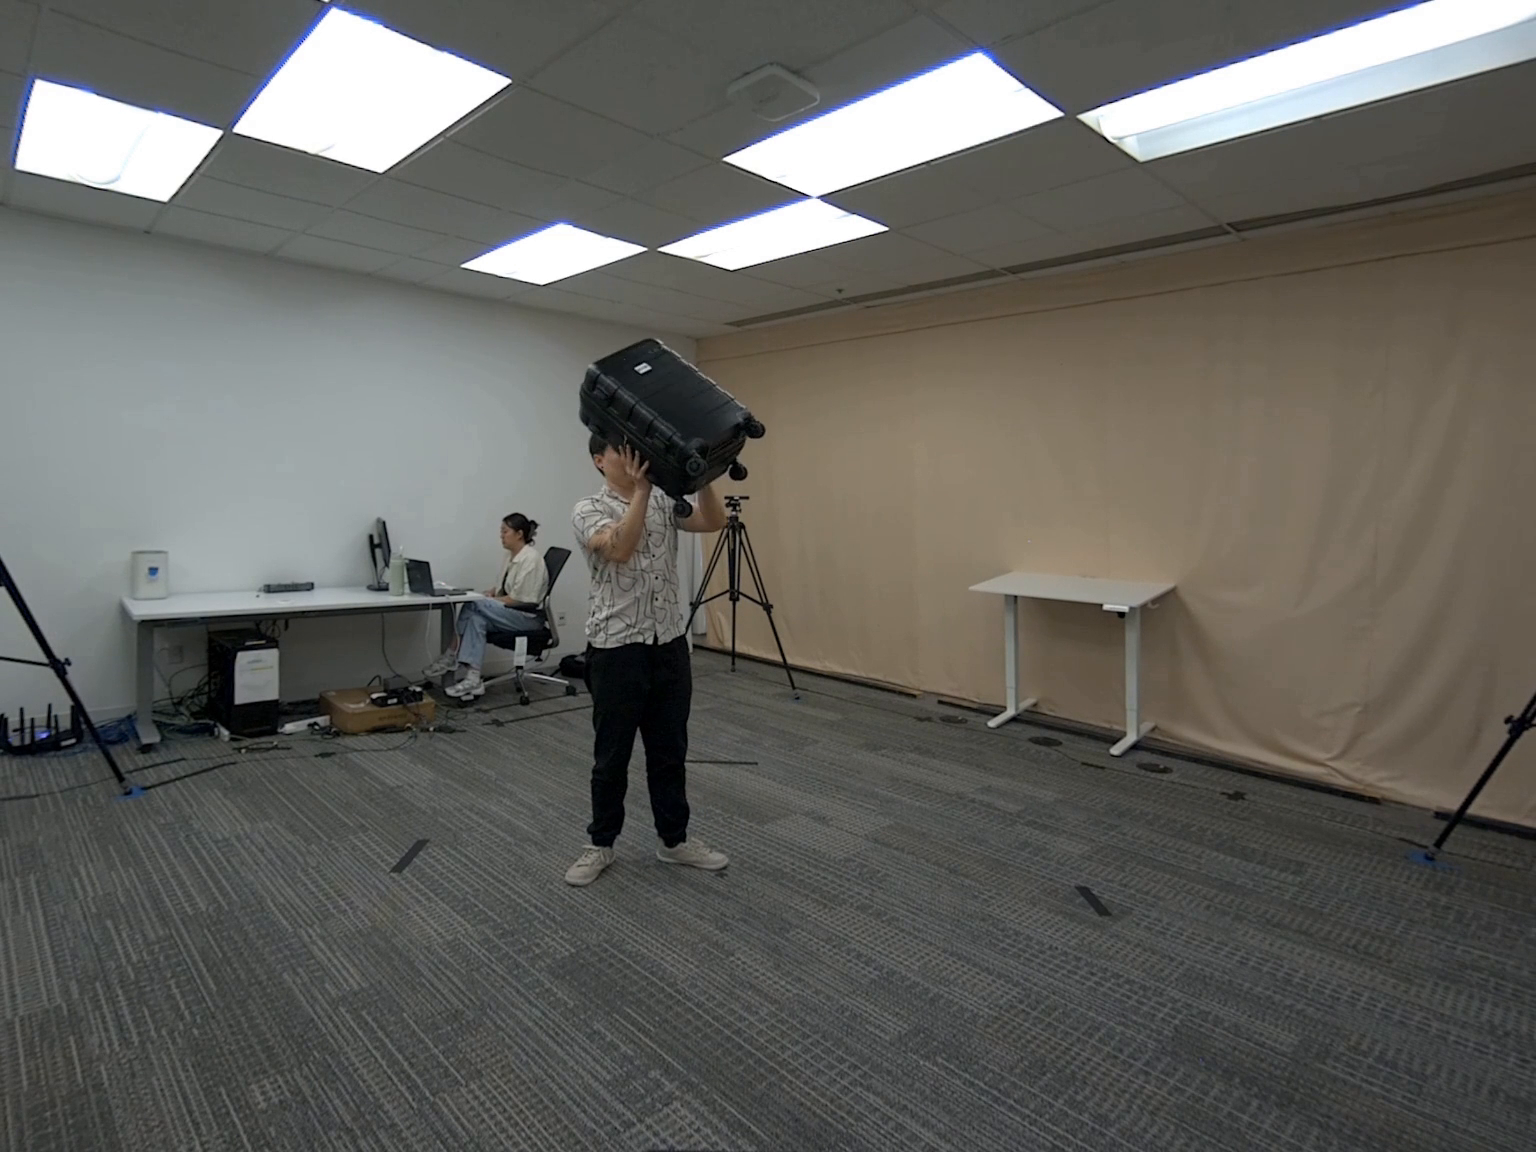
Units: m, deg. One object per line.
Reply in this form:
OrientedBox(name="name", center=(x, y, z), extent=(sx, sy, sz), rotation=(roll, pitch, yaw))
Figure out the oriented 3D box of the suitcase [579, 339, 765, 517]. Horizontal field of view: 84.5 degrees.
OrientedBox(name="suitcase", center=(-0.331, -0.510, 2.759), extent=(0.558, 0.246, 0.373), rotation=(42, 52, 15))
